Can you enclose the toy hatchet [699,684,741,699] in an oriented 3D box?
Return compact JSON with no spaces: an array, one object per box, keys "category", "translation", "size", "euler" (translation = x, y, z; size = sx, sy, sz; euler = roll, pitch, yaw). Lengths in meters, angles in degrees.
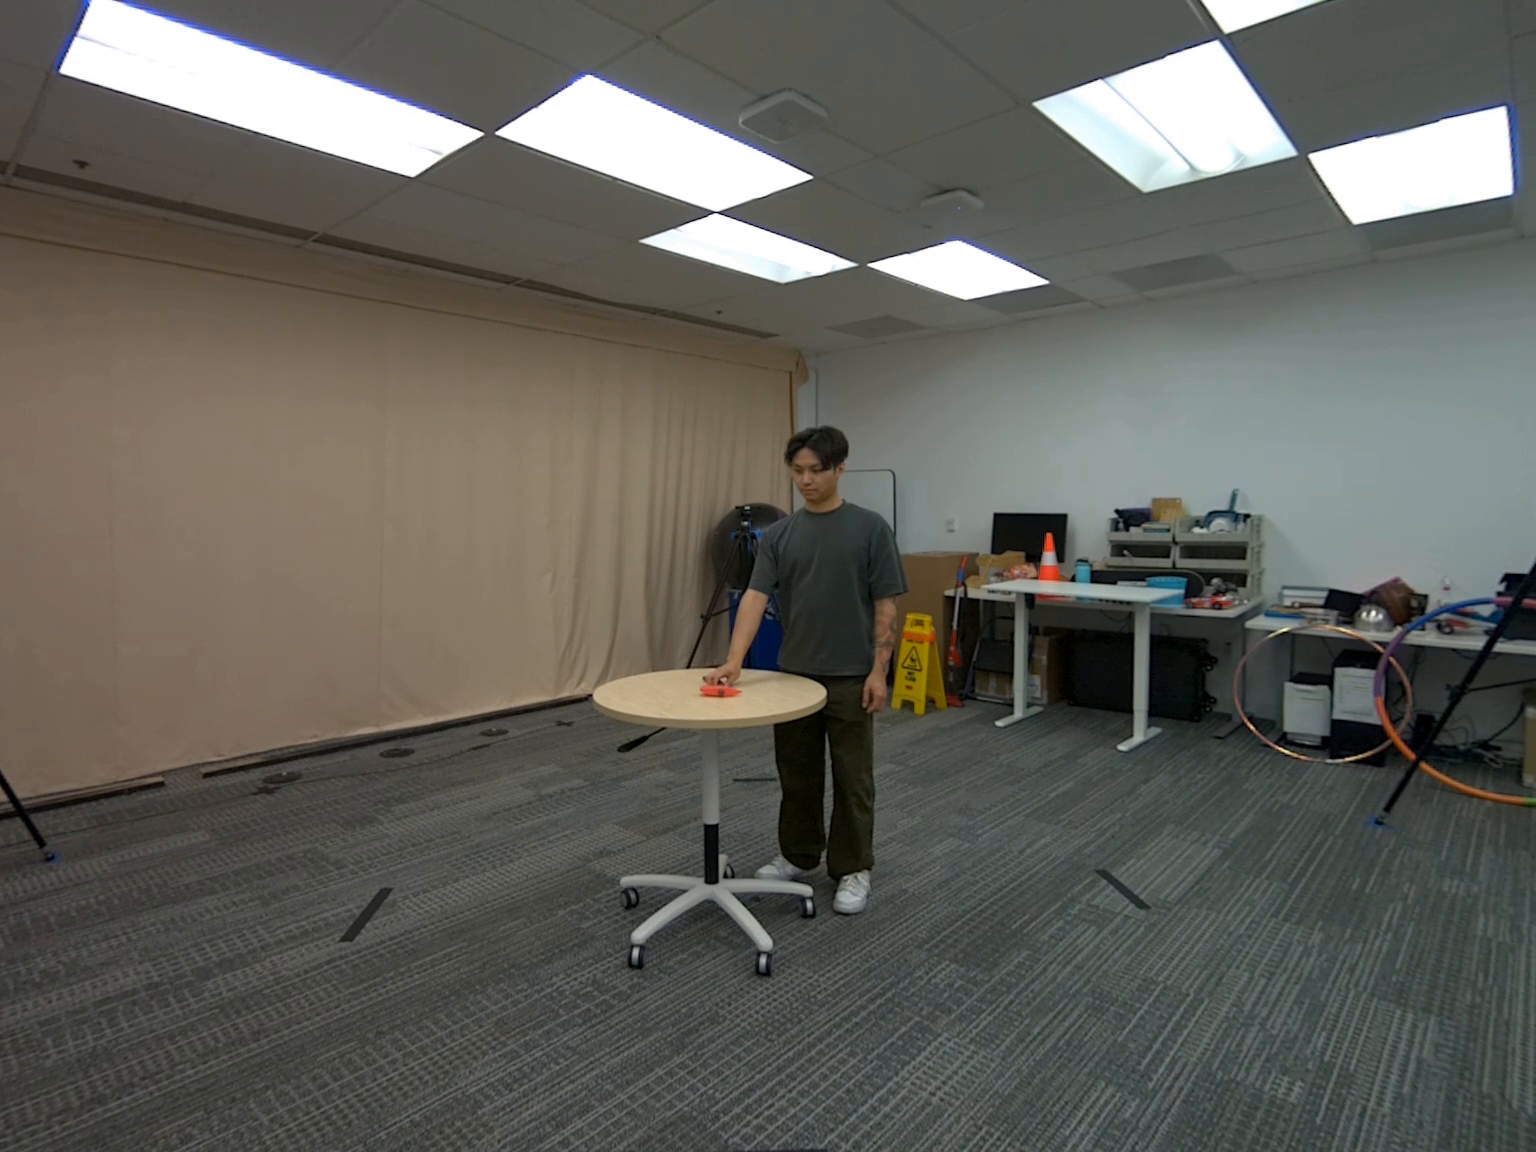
[{"category":"toy hatchet","translation":[-0.186,0.365,2.783],"size":[0.128,0.029,0.277],"euler":[3,2,-25]}]
